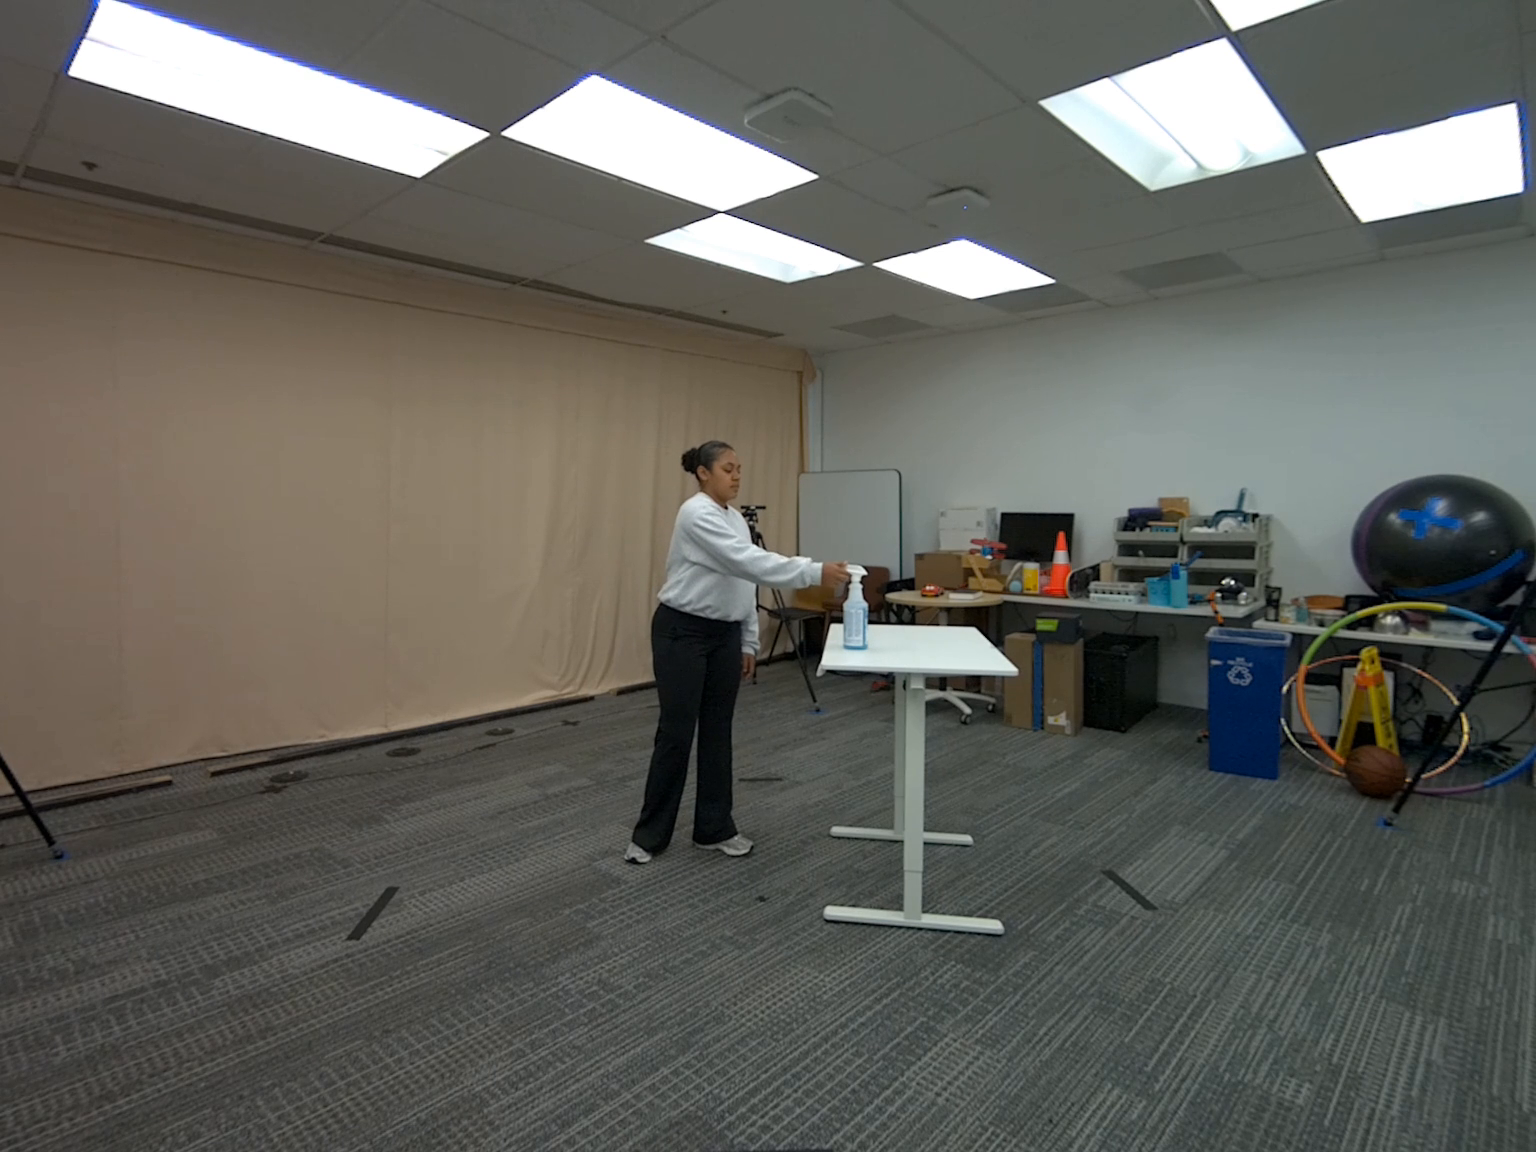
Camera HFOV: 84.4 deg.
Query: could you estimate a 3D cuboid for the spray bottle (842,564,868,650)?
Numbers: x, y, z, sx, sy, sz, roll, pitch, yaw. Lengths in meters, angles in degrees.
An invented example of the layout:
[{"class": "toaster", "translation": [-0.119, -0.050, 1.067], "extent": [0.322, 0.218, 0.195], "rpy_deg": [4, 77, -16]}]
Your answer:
[{"class": "spray bottle", "translation": [0.318, 0.112, 2.988], "extent": [0.084, 0.297, 0.093], "rpy_deg": [-1, 2, -38]}]
